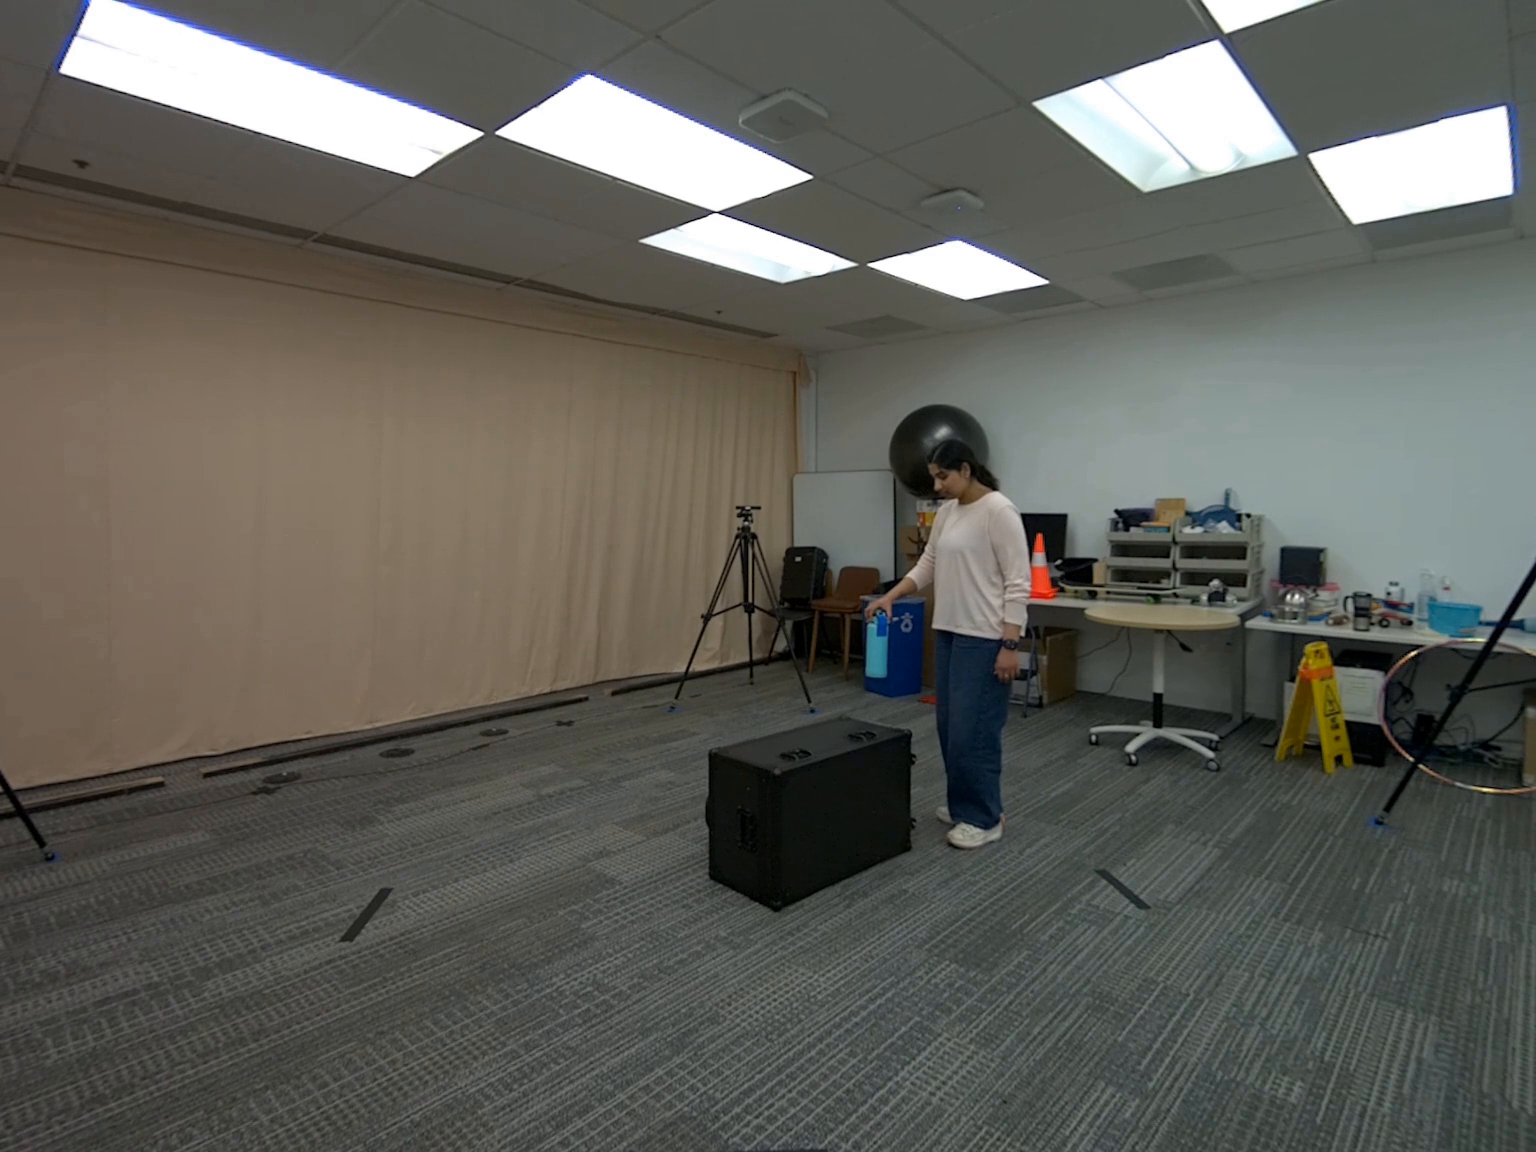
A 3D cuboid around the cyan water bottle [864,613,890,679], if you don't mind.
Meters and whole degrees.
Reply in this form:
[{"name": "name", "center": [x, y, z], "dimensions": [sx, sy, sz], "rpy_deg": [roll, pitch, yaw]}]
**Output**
[{"name": "cyan water bottle", "center": [0.485, 0.296, 3.622], "dimensions": [0.092, 0.283, 0.092], "rpy_deg": [3, -1, -2]}]
